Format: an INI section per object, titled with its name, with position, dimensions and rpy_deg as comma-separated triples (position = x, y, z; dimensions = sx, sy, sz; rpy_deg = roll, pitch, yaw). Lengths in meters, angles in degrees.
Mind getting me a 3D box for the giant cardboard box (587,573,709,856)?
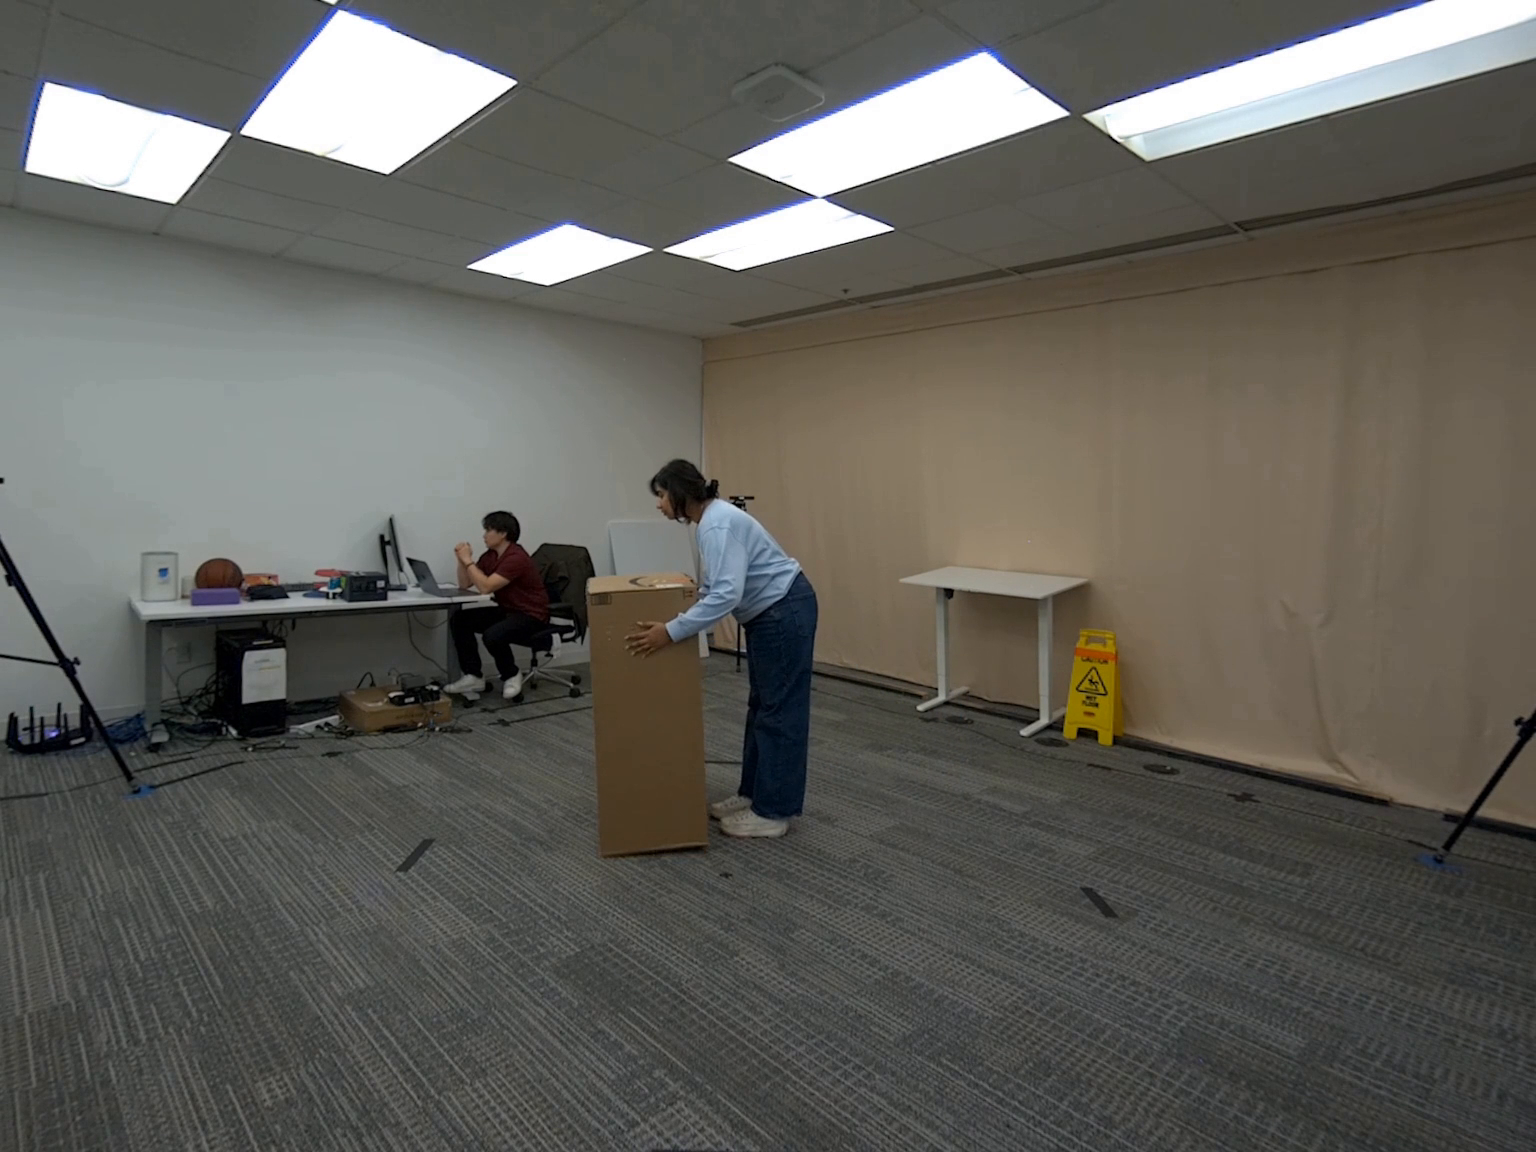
[giant cardboard box]
position = -0.512, 0.532, 3.506
dimensions = 0.444, 1.024, 0.589
rpy_deg = -3, 4, -9
